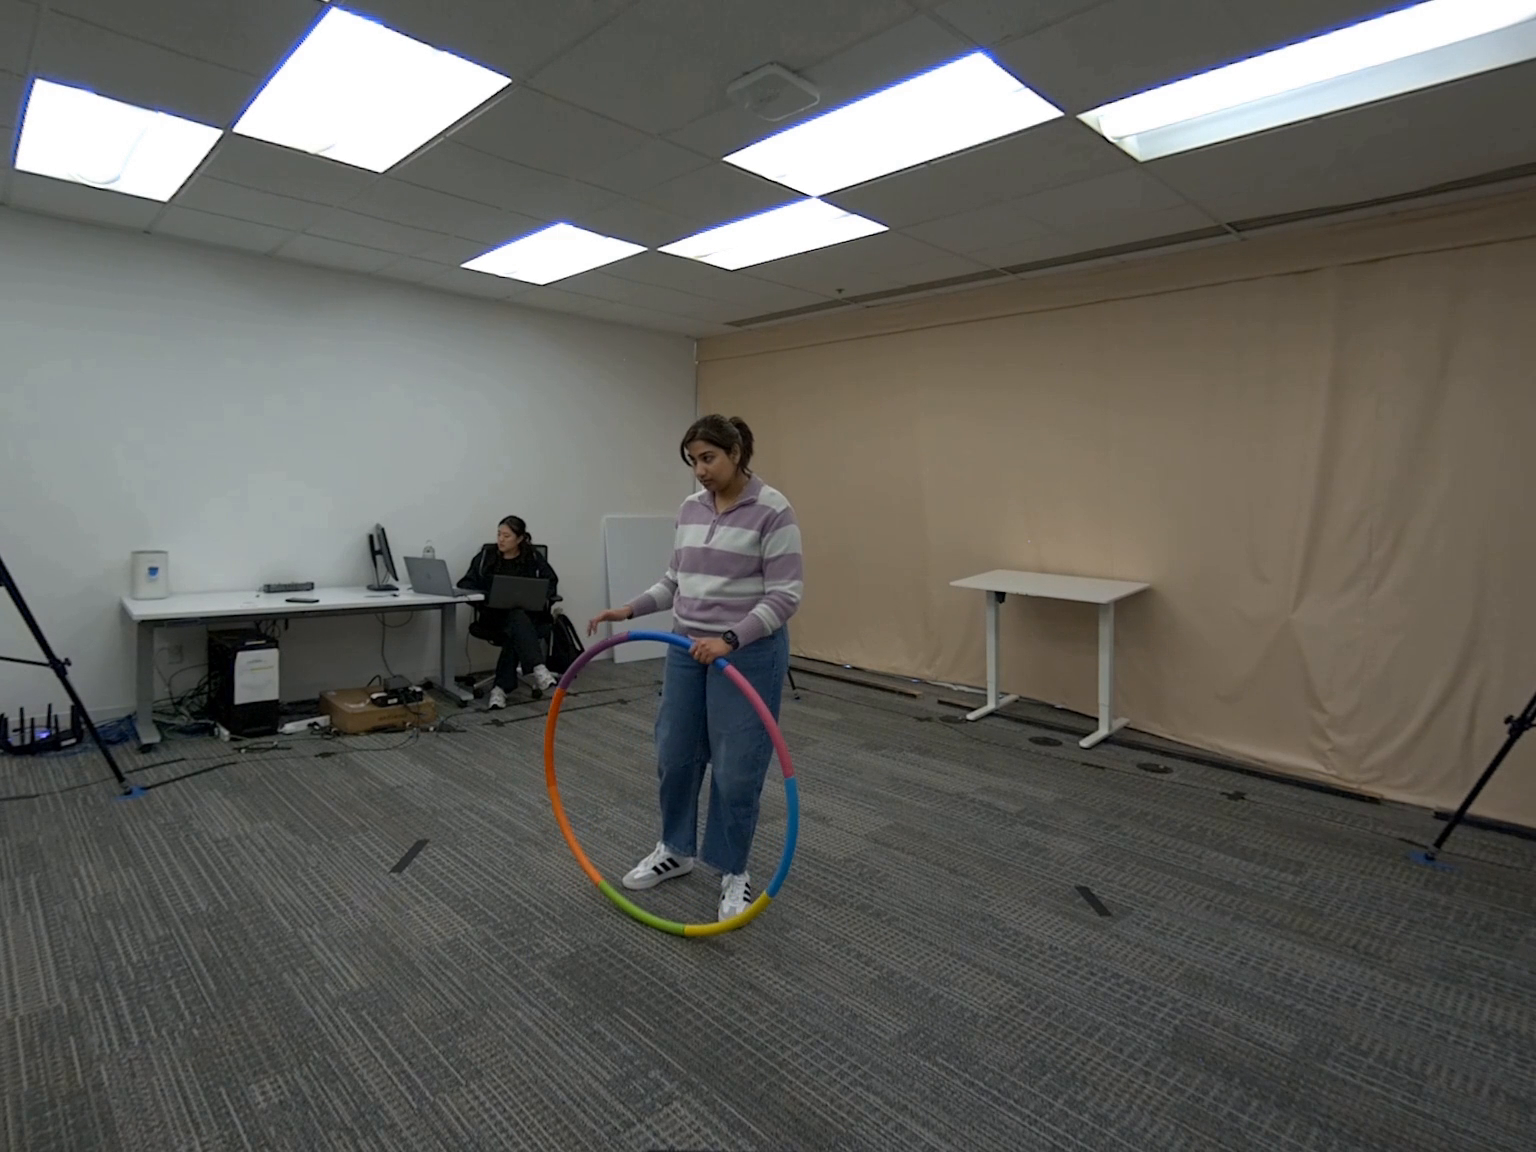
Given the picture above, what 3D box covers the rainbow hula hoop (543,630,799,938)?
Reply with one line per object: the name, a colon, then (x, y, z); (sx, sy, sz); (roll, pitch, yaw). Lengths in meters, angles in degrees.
rainbow hula hoop: (-0.348, 0.659, 2.666); (1.007, 0.981, 0.051); (4, 7, 31)
